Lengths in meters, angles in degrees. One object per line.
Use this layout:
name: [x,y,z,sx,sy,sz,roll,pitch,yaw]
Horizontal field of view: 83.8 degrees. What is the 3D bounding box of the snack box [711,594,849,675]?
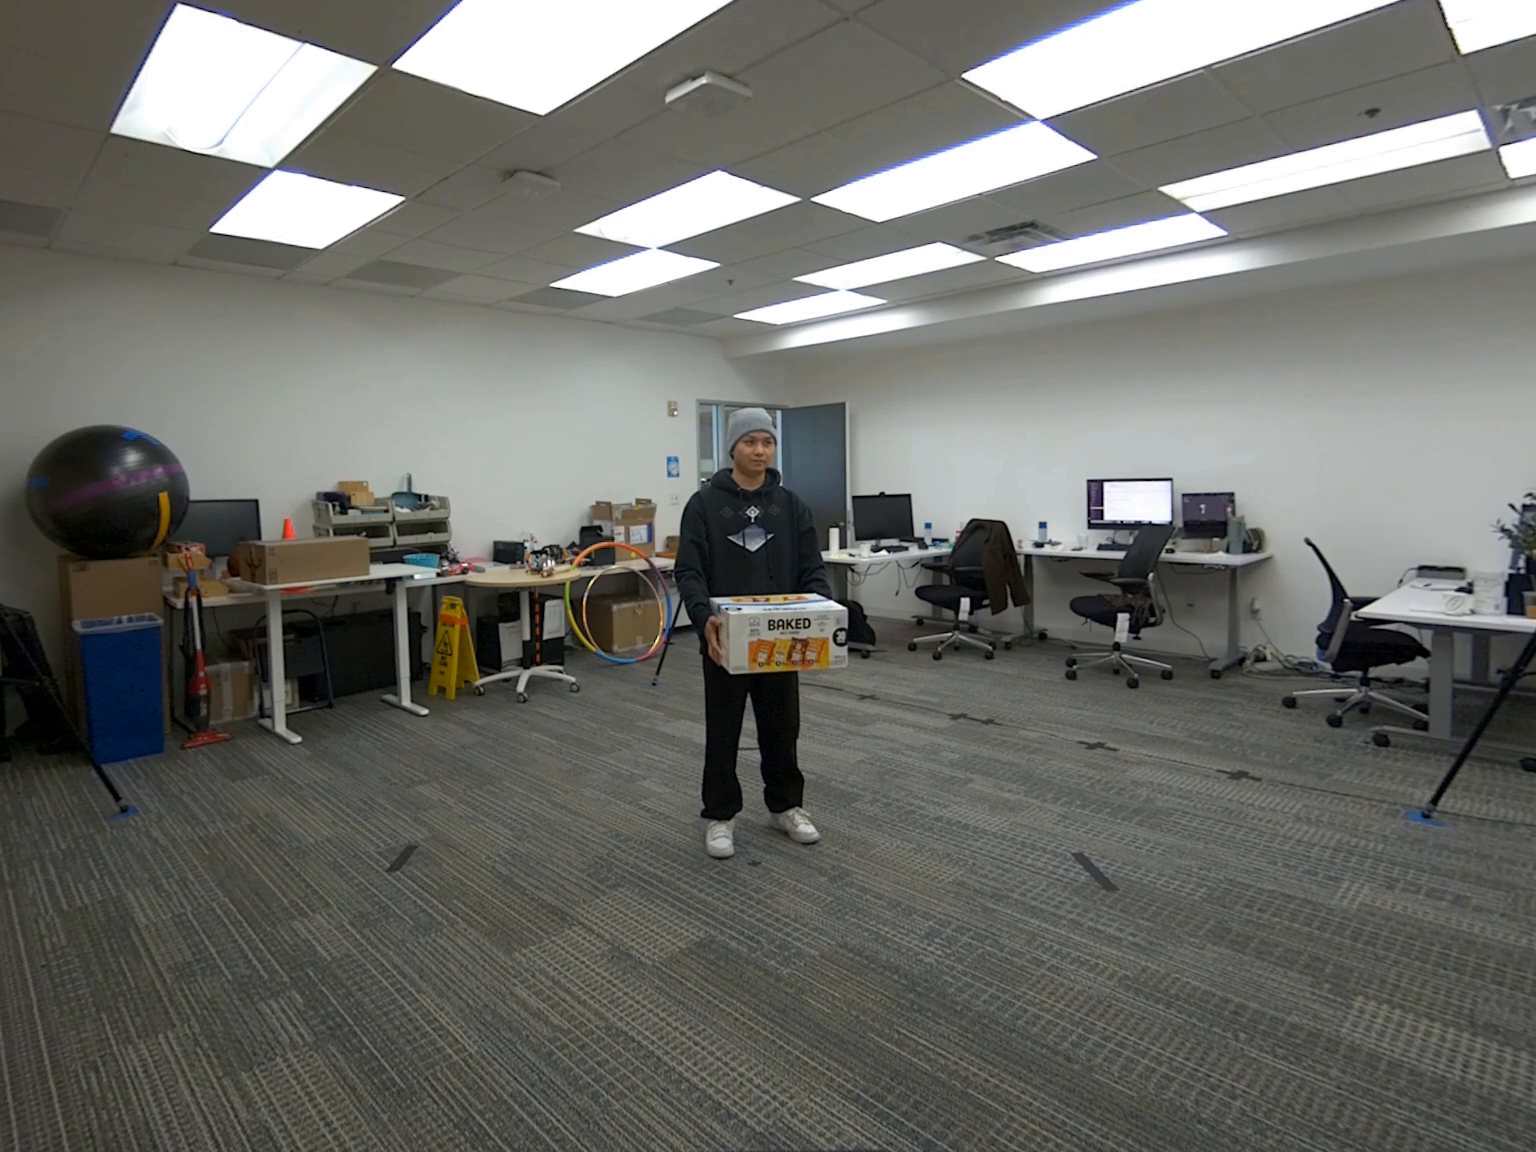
snack box: [0.025,0.195,2.960,0.400,0.205,0.346,-2,6,-13]
